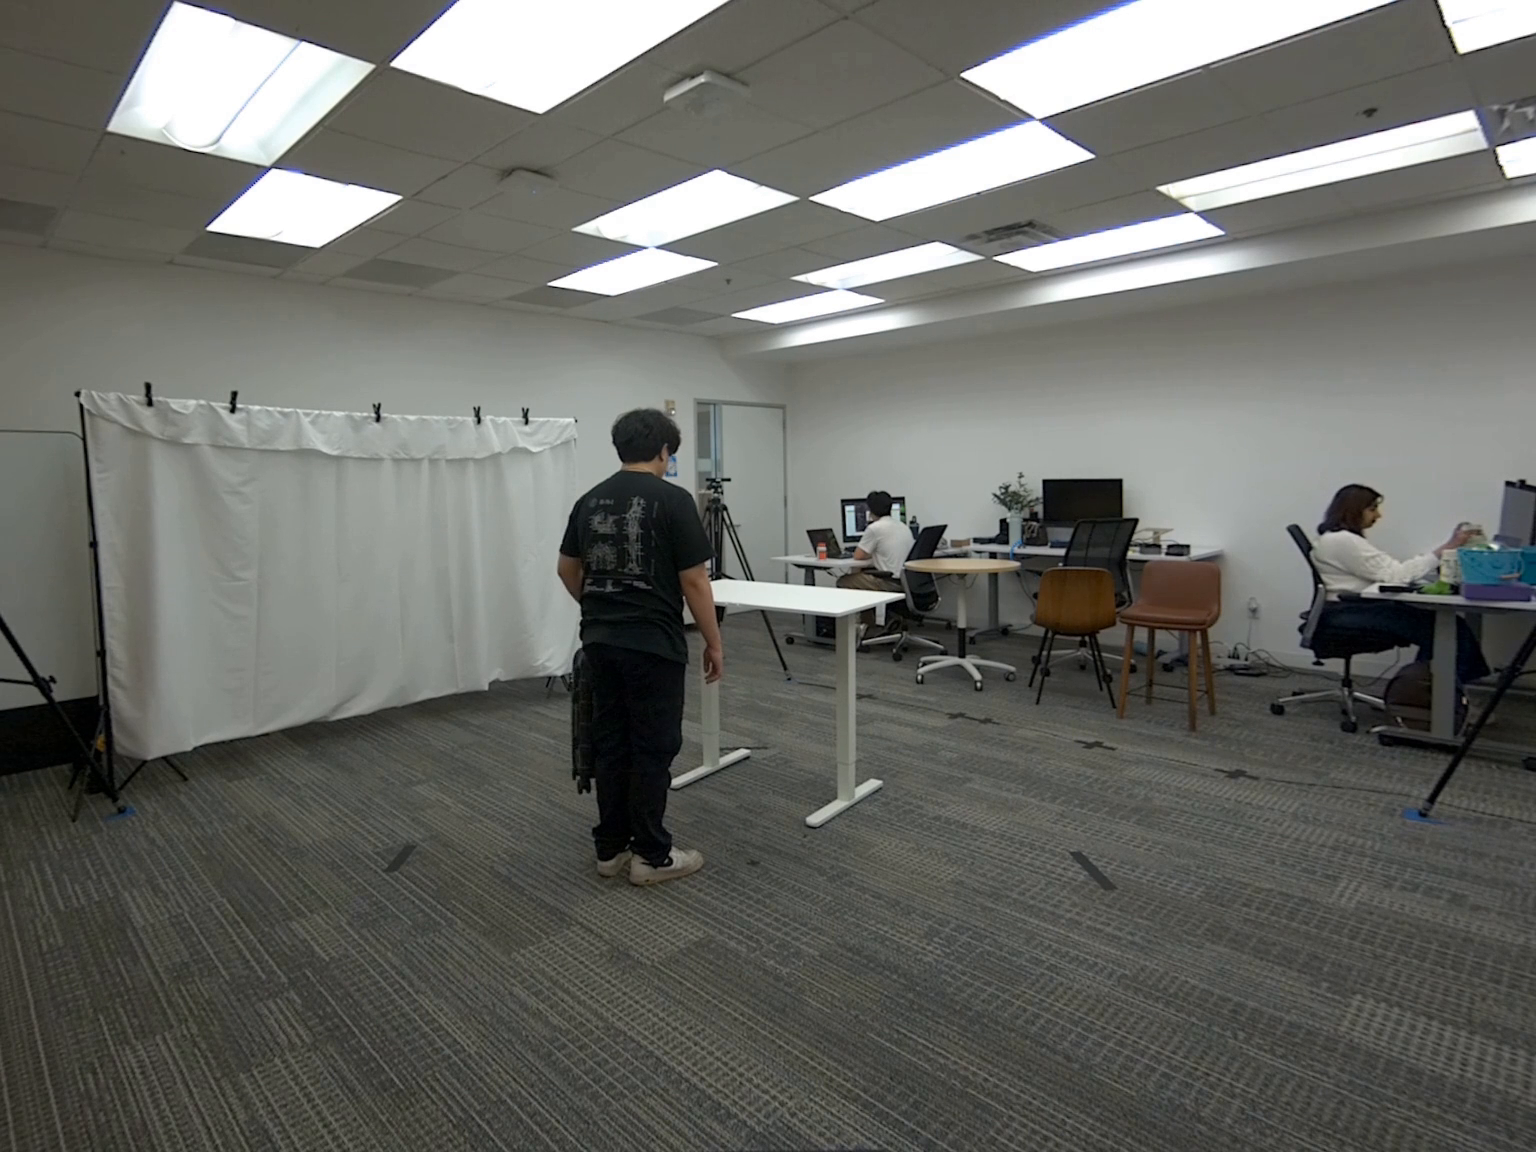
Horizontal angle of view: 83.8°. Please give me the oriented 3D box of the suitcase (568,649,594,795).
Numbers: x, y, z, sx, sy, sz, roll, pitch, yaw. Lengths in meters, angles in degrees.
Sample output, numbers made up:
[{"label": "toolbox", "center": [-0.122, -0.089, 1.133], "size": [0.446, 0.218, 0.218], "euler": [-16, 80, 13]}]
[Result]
[{"label": "suitcase", "center": [-0.580, 0.540, 3.316], "size": [0.369, 0.549, 0.252], "euler": [-1, 0, -17]}]
